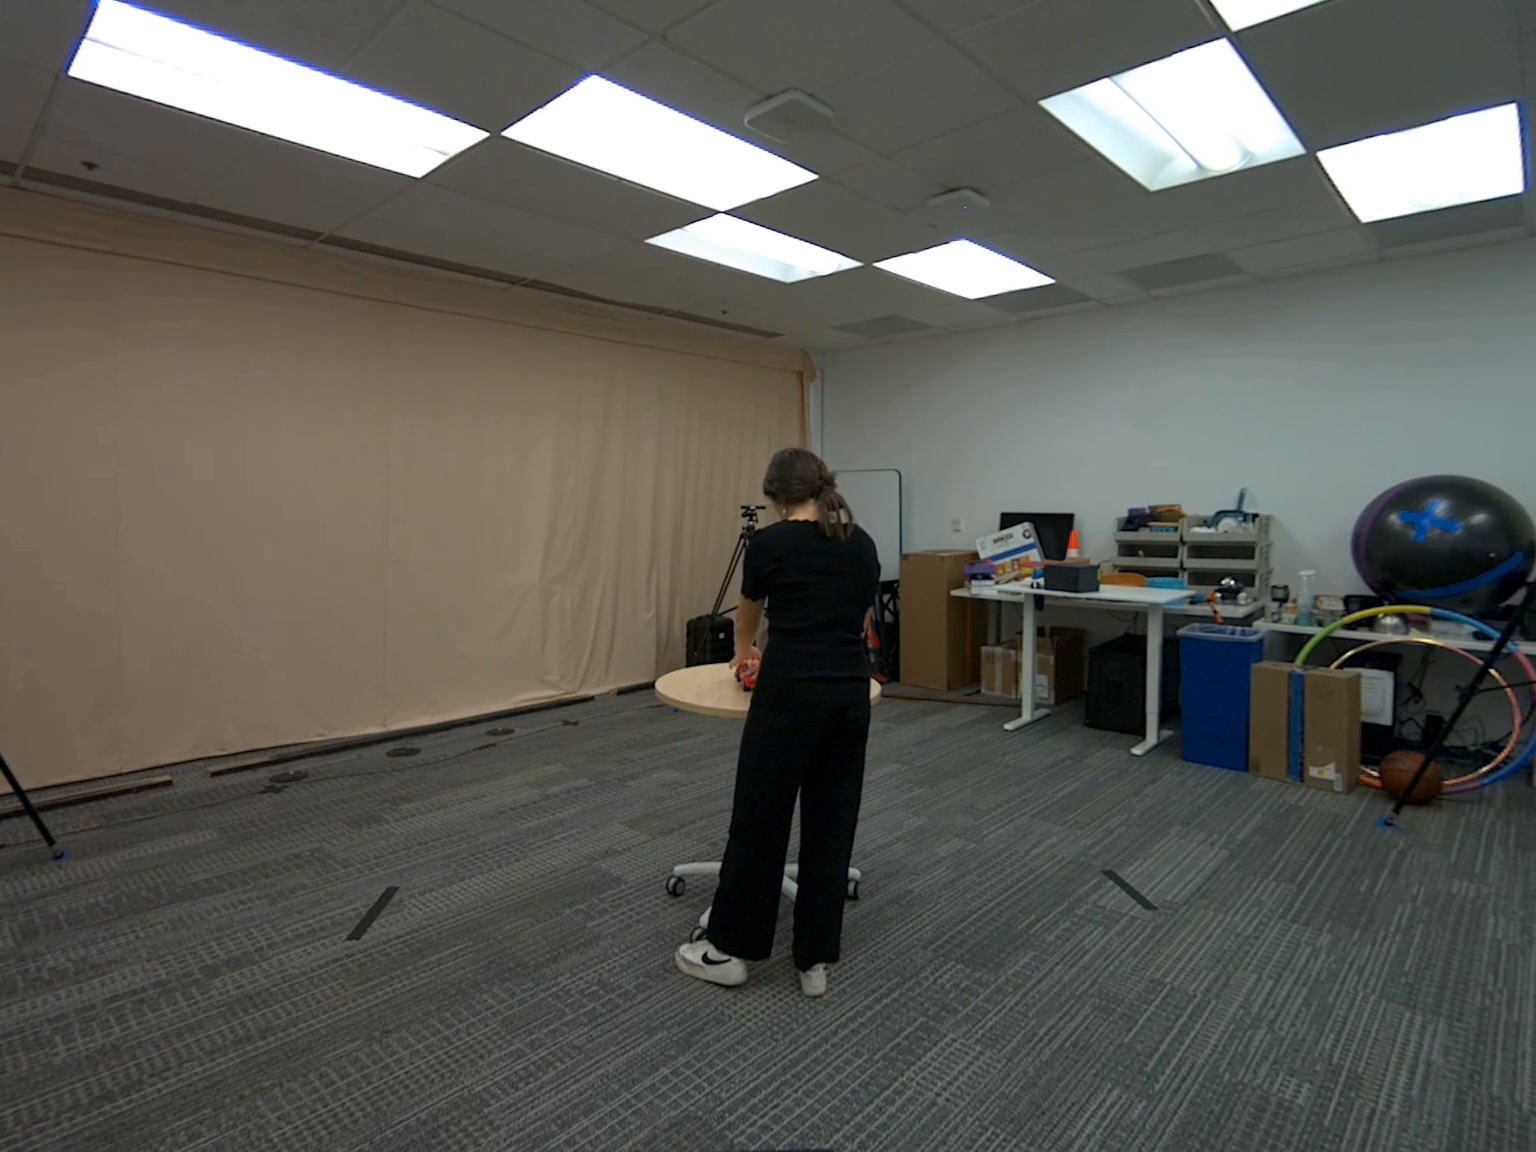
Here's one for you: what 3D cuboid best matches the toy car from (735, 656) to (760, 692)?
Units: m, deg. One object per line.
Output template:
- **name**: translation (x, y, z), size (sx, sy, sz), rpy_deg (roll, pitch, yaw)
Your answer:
- **toy car**: translation (-0.037, 0.338, 2.874), size (0.129, 0.082, 0.259), rpy_deg (-2, 18, -8)
